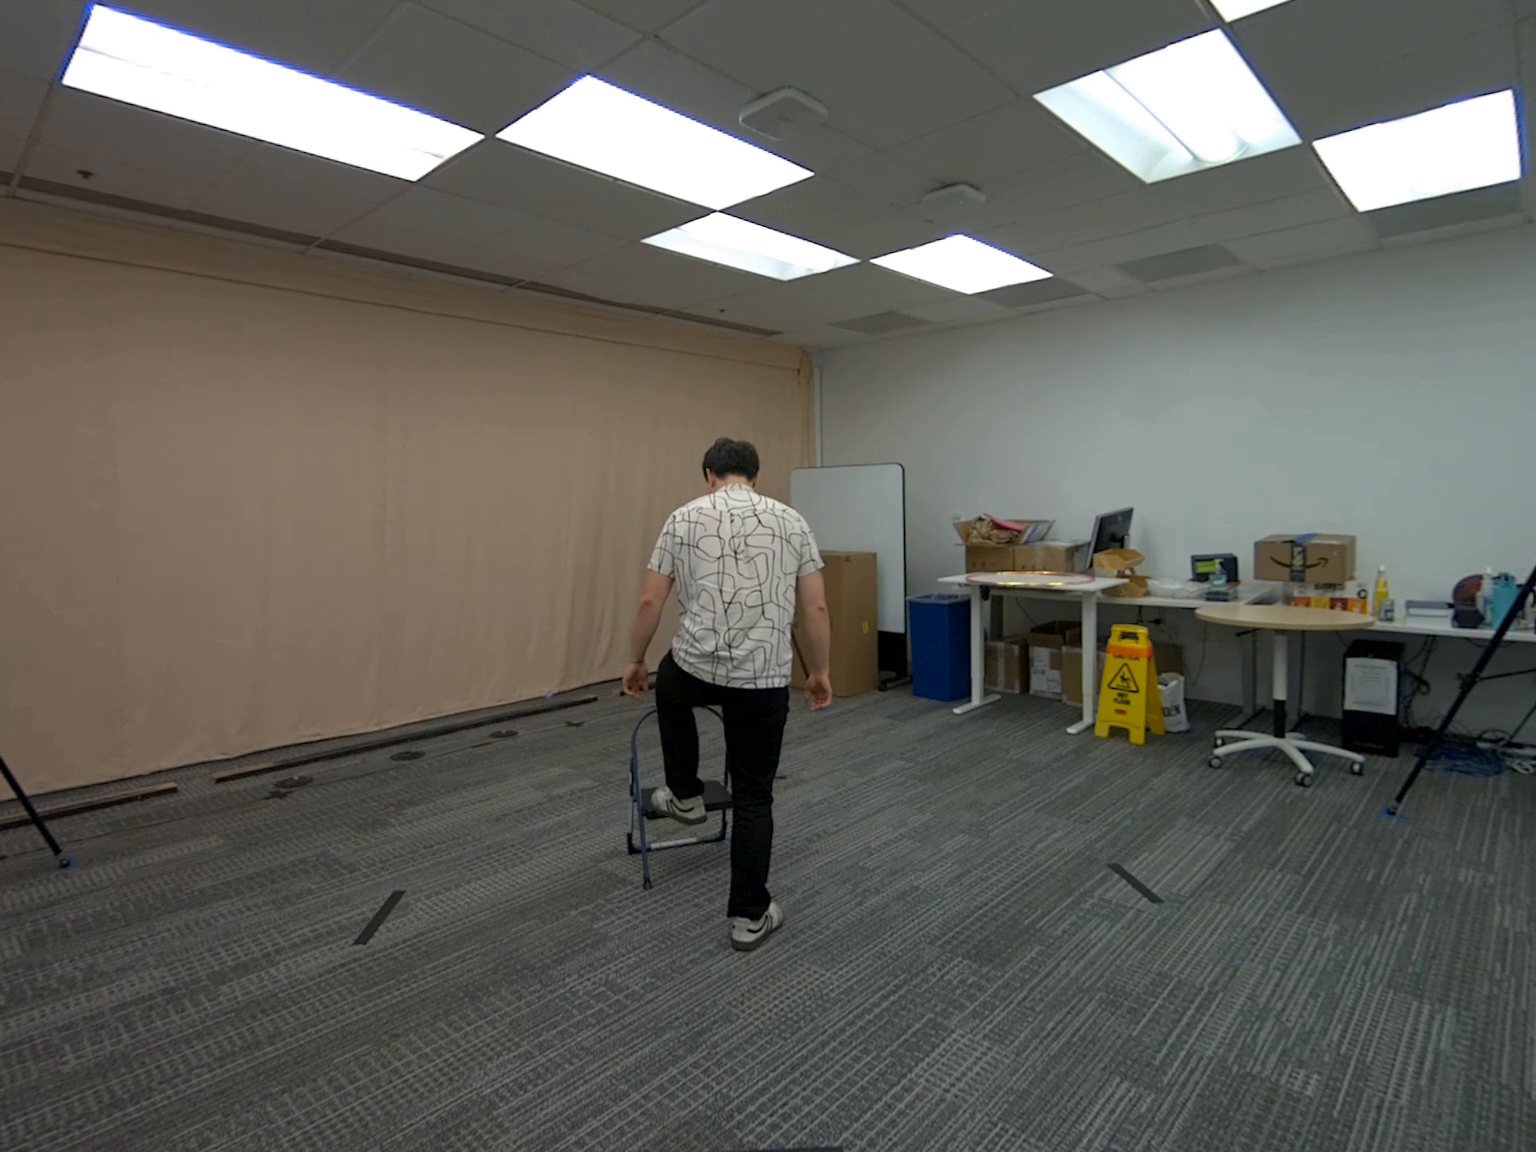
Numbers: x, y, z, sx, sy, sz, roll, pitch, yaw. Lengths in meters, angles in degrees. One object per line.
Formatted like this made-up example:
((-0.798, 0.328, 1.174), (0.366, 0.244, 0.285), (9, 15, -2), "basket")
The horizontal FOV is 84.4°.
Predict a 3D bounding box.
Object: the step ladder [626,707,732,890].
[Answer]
((-0.320, 0.815, 3.282), (0.422, 0.605, 0.357), (-2, 3, -20), "step ladder")
